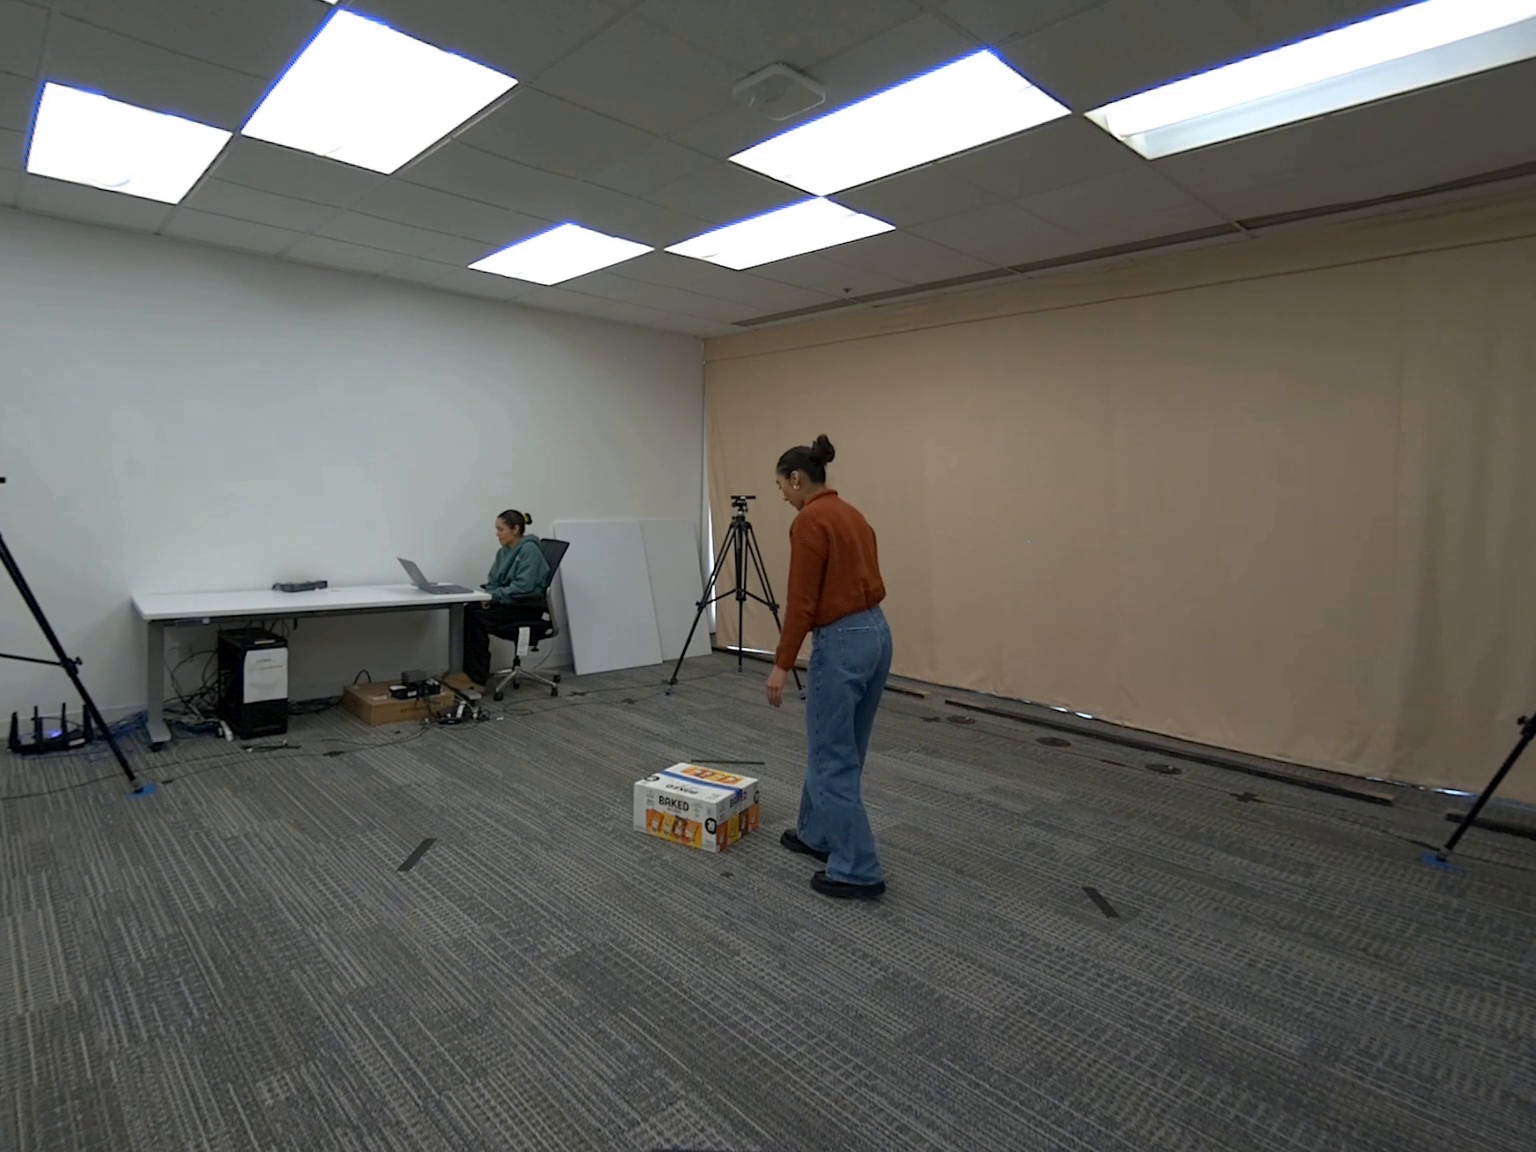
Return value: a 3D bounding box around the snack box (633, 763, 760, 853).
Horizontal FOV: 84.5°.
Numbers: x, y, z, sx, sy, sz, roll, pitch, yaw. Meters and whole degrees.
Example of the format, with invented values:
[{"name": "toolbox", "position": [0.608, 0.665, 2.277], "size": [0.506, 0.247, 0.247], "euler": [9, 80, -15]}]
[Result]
[{"name": "snack box", "position": [-0.305, 0.960, 3.525], "size": [0.414, 0.205, 0.334], "euler": [4, 5, 30]}]
